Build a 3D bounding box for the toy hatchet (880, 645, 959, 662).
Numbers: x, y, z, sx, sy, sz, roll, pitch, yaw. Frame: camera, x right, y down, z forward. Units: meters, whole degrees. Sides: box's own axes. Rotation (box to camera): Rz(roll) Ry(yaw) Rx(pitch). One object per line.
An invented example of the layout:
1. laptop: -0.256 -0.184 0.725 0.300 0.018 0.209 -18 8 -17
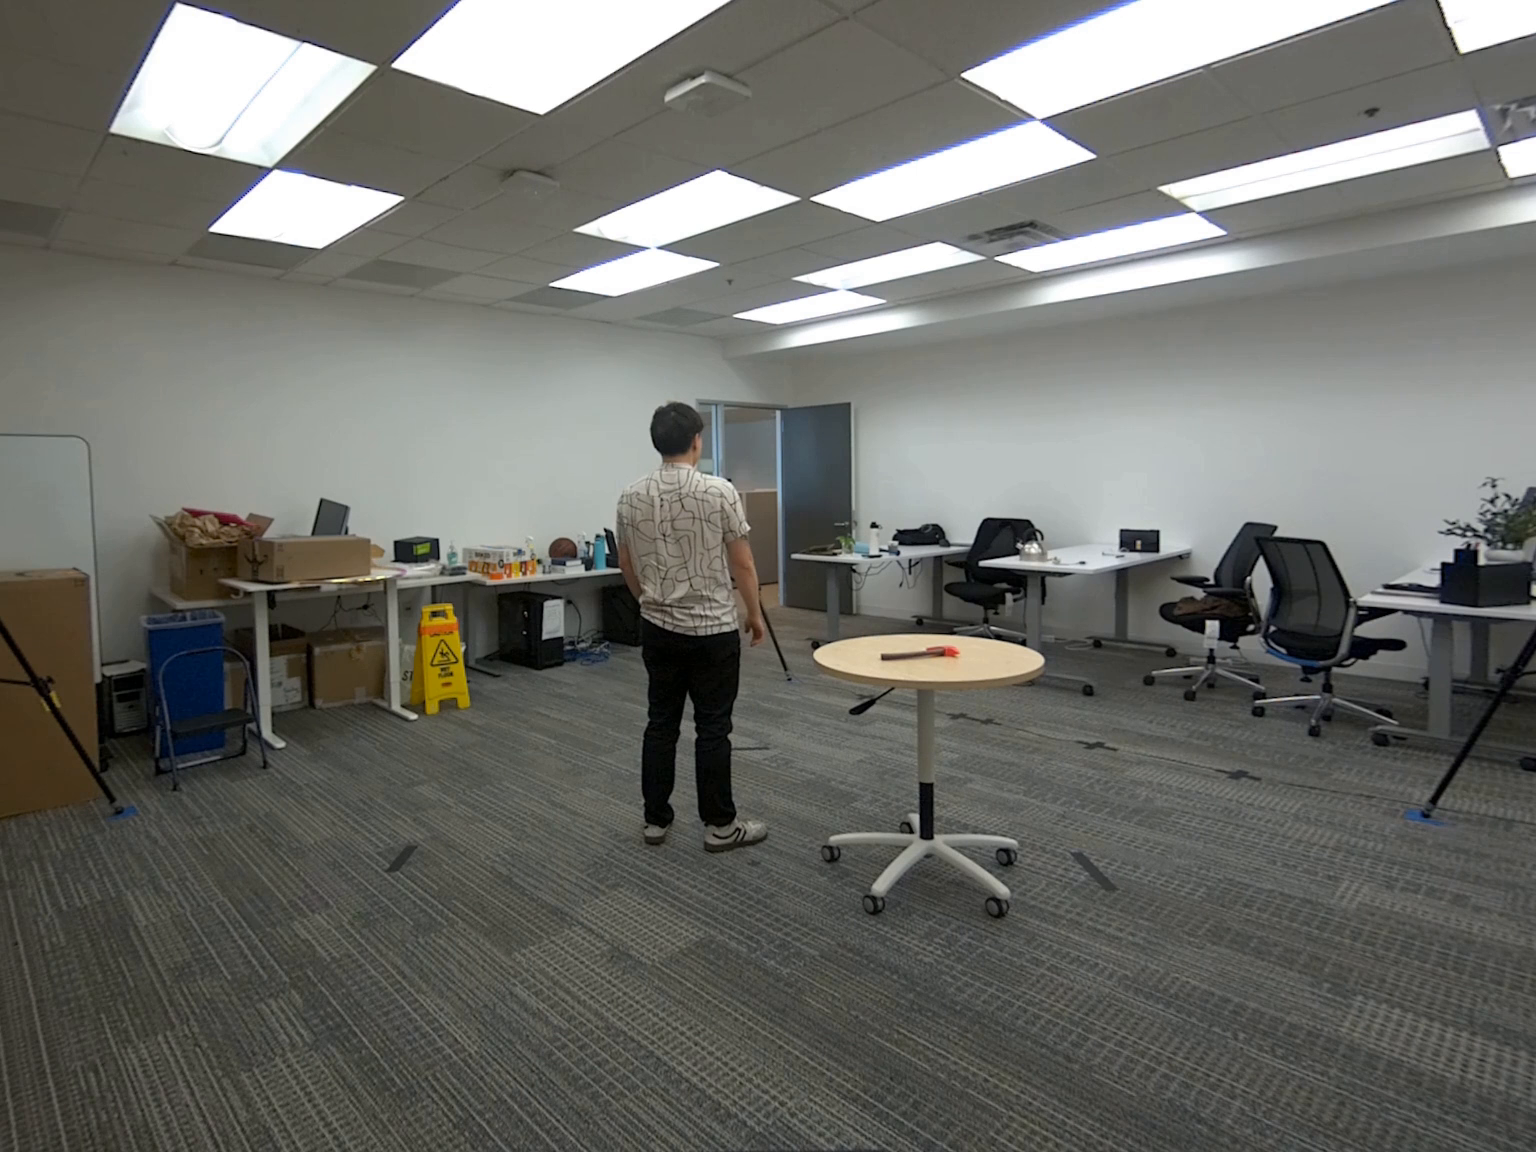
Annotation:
1. toy hatchet: 0.510 0.259 2.912 0.270 0.029 0.132 -2 5 -2
